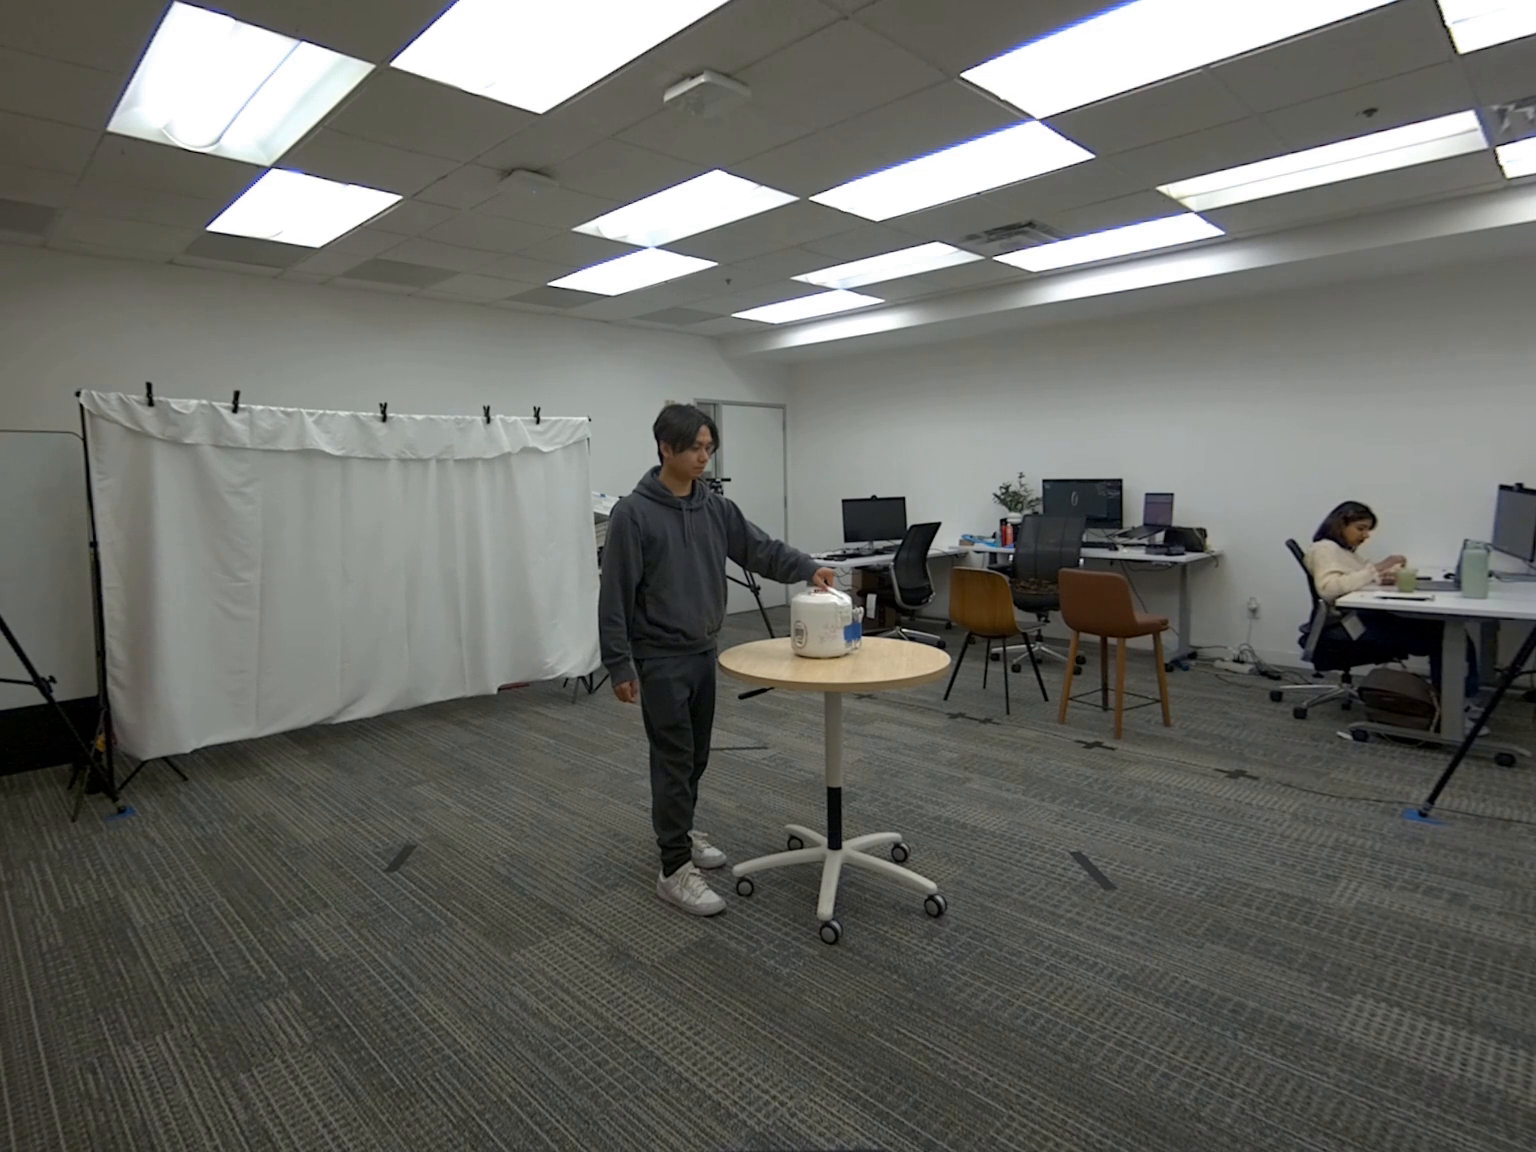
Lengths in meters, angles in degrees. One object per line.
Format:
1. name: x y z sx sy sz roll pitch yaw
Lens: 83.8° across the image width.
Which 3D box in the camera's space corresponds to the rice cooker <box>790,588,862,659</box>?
1. rice cooker: 0.181 0.148 2.889 0.211 0.232 0.227 -3 4 -42
